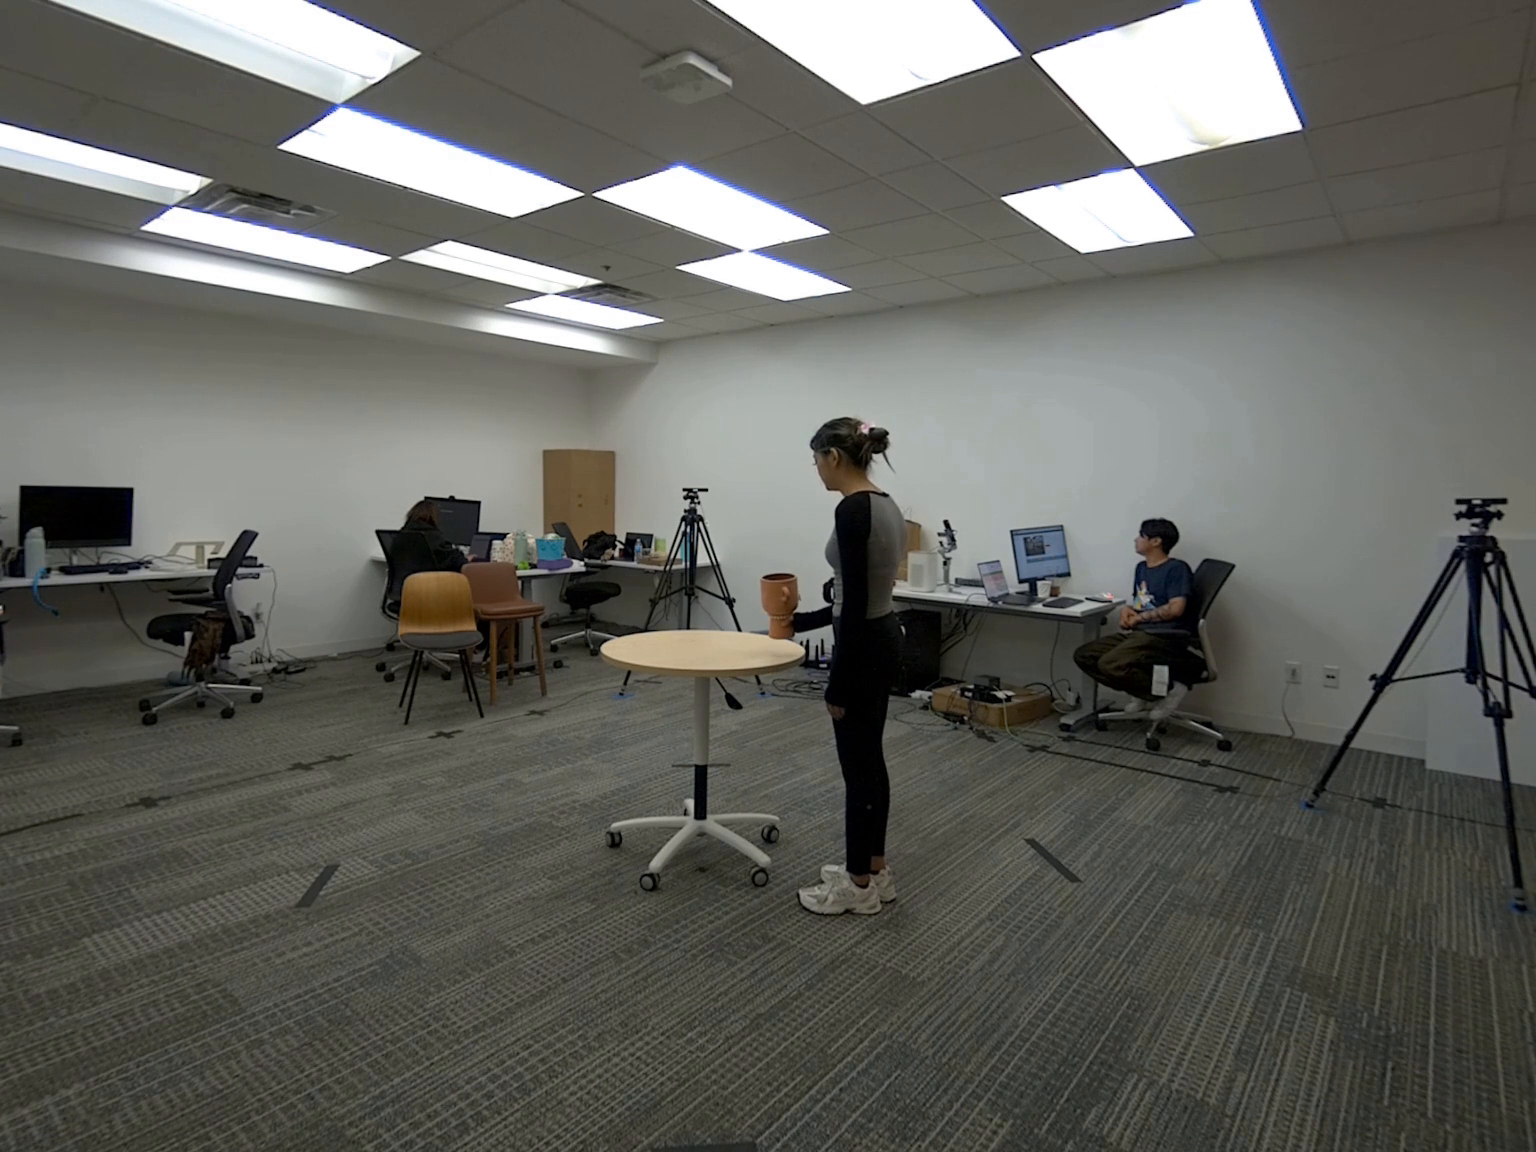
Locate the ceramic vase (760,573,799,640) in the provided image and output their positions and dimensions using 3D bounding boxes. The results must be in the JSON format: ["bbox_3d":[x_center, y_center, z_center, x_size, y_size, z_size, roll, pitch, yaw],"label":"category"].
[{"bbox_3d":[0.034,0.105,3.071,0.138,0.217,0.156,1,12,25],"label":"ceramic vase"}]
